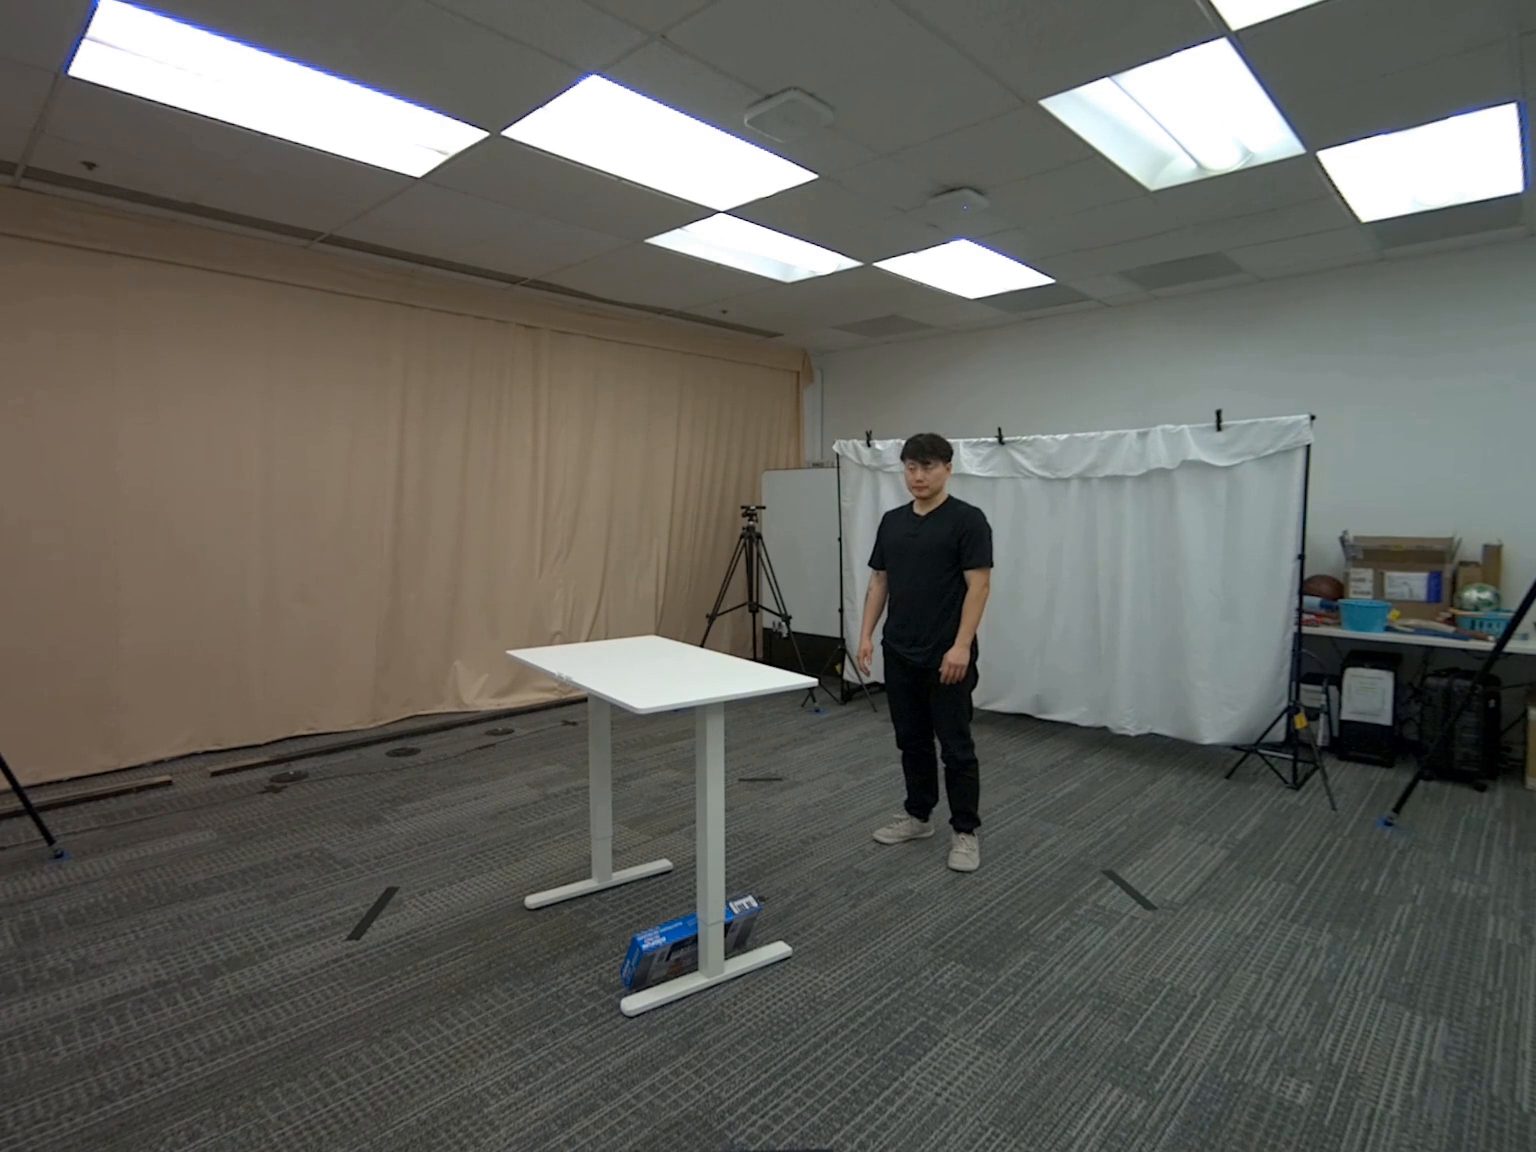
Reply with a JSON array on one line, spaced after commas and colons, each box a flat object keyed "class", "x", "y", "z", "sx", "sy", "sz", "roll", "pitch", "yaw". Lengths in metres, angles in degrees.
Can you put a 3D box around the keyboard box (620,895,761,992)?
[{"class": "keyboard box", "x": -0.226, "y": 1.100, "z": 2.531, "sx": 0.424, "sy": 0.175, "sz": 0.061, "roll": -4, "pitch": 33, "yaw": -37}]
